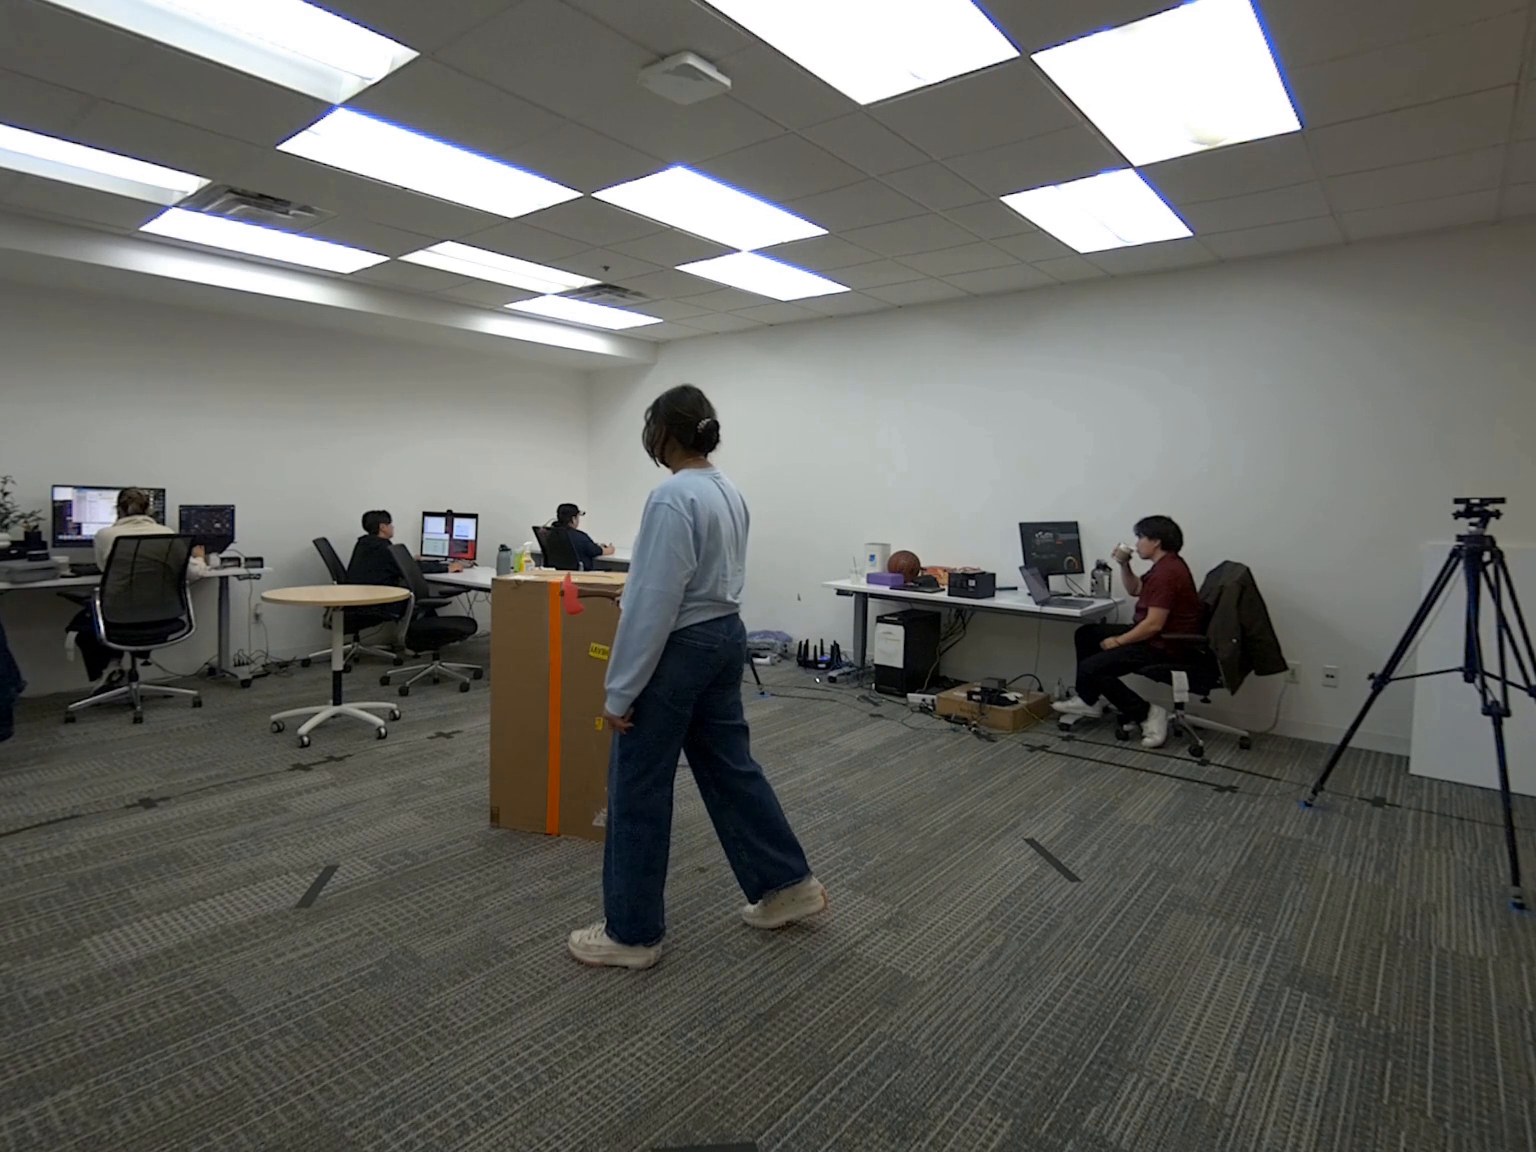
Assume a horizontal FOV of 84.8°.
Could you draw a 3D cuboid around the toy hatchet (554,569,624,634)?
[{"bbox_3d":[-0.528,0.090,2.655,0.263,0.133,0.030,23,-27,-20],"label":"toy hatchet"}]
